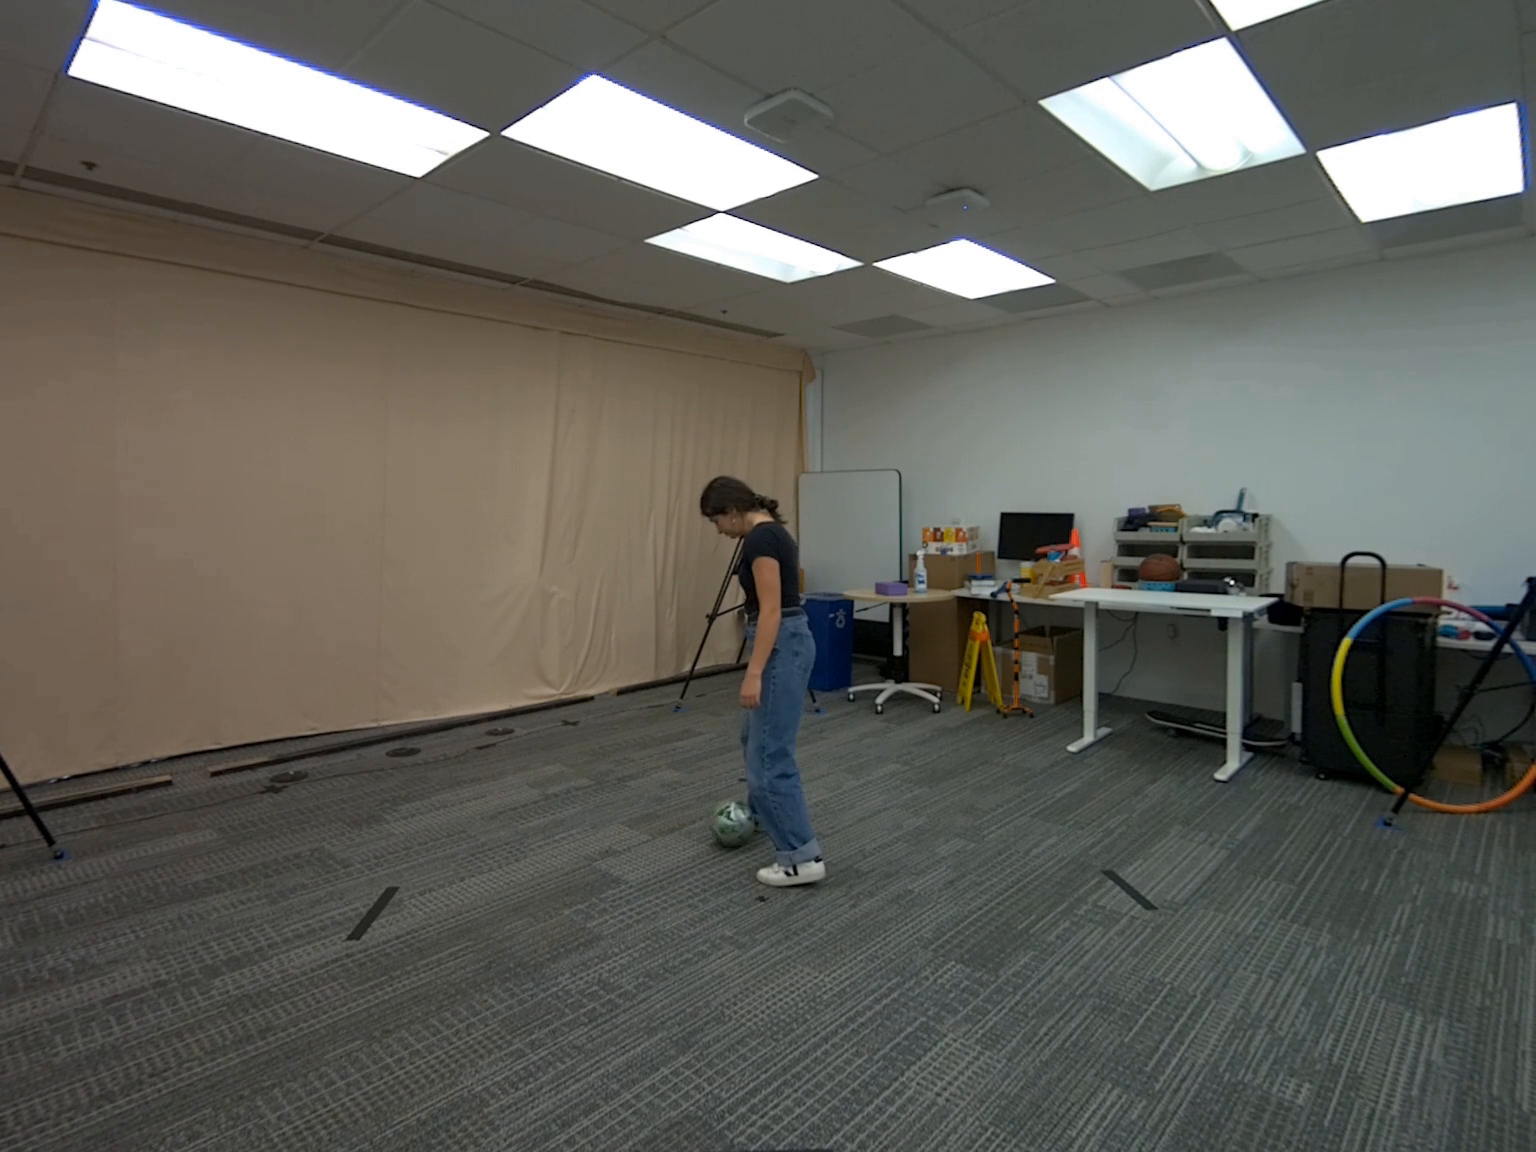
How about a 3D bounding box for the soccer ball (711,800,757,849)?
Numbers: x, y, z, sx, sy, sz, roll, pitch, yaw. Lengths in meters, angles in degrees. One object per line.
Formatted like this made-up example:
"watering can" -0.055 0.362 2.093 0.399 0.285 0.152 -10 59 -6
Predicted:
"soccer ball" -0.140 1.013 3.449 0.187 0.187 0.188 0 4 -2
